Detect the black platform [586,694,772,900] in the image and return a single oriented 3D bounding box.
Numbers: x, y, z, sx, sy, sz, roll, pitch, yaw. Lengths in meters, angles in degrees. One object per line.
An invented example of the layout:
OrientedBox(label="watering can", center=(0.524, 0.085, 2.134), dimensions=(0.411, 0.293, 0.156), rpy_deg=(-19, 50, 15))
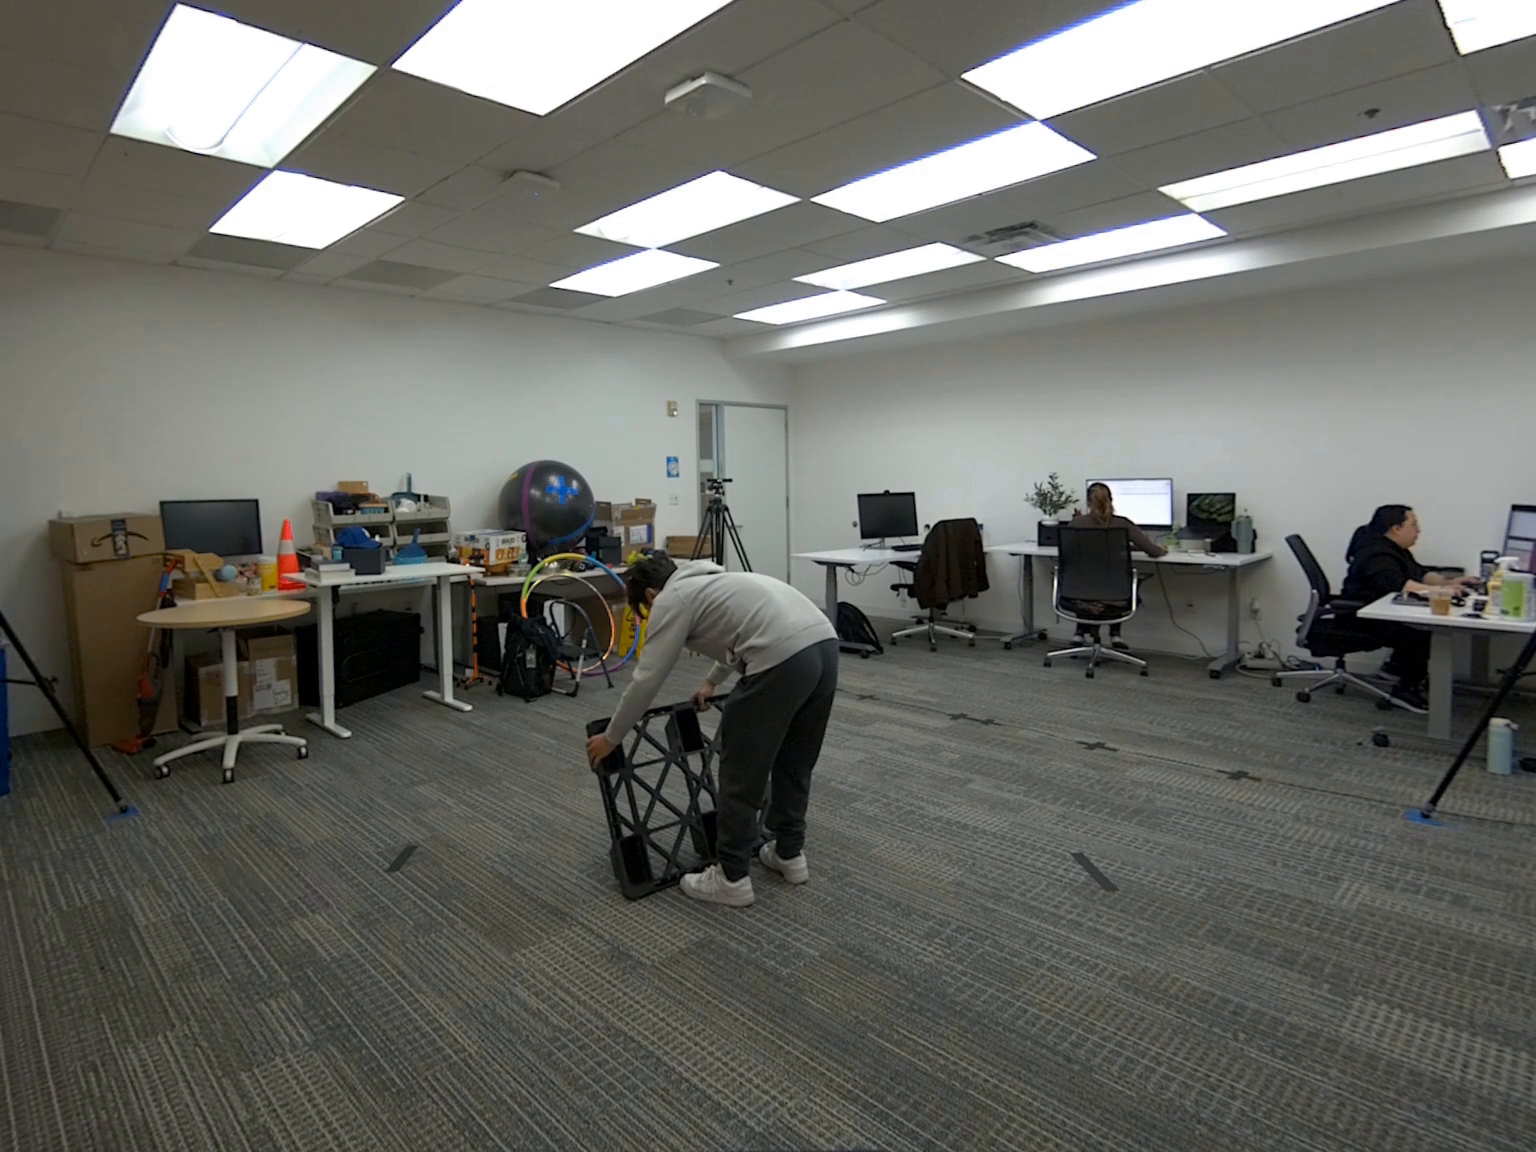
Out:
OrientedBox(label="black platform", center=(-0.273, 0.781, 3.198), dimensions=(0.785, 0.615, 0.144), rpy_deg=(-5, -18, -38))
